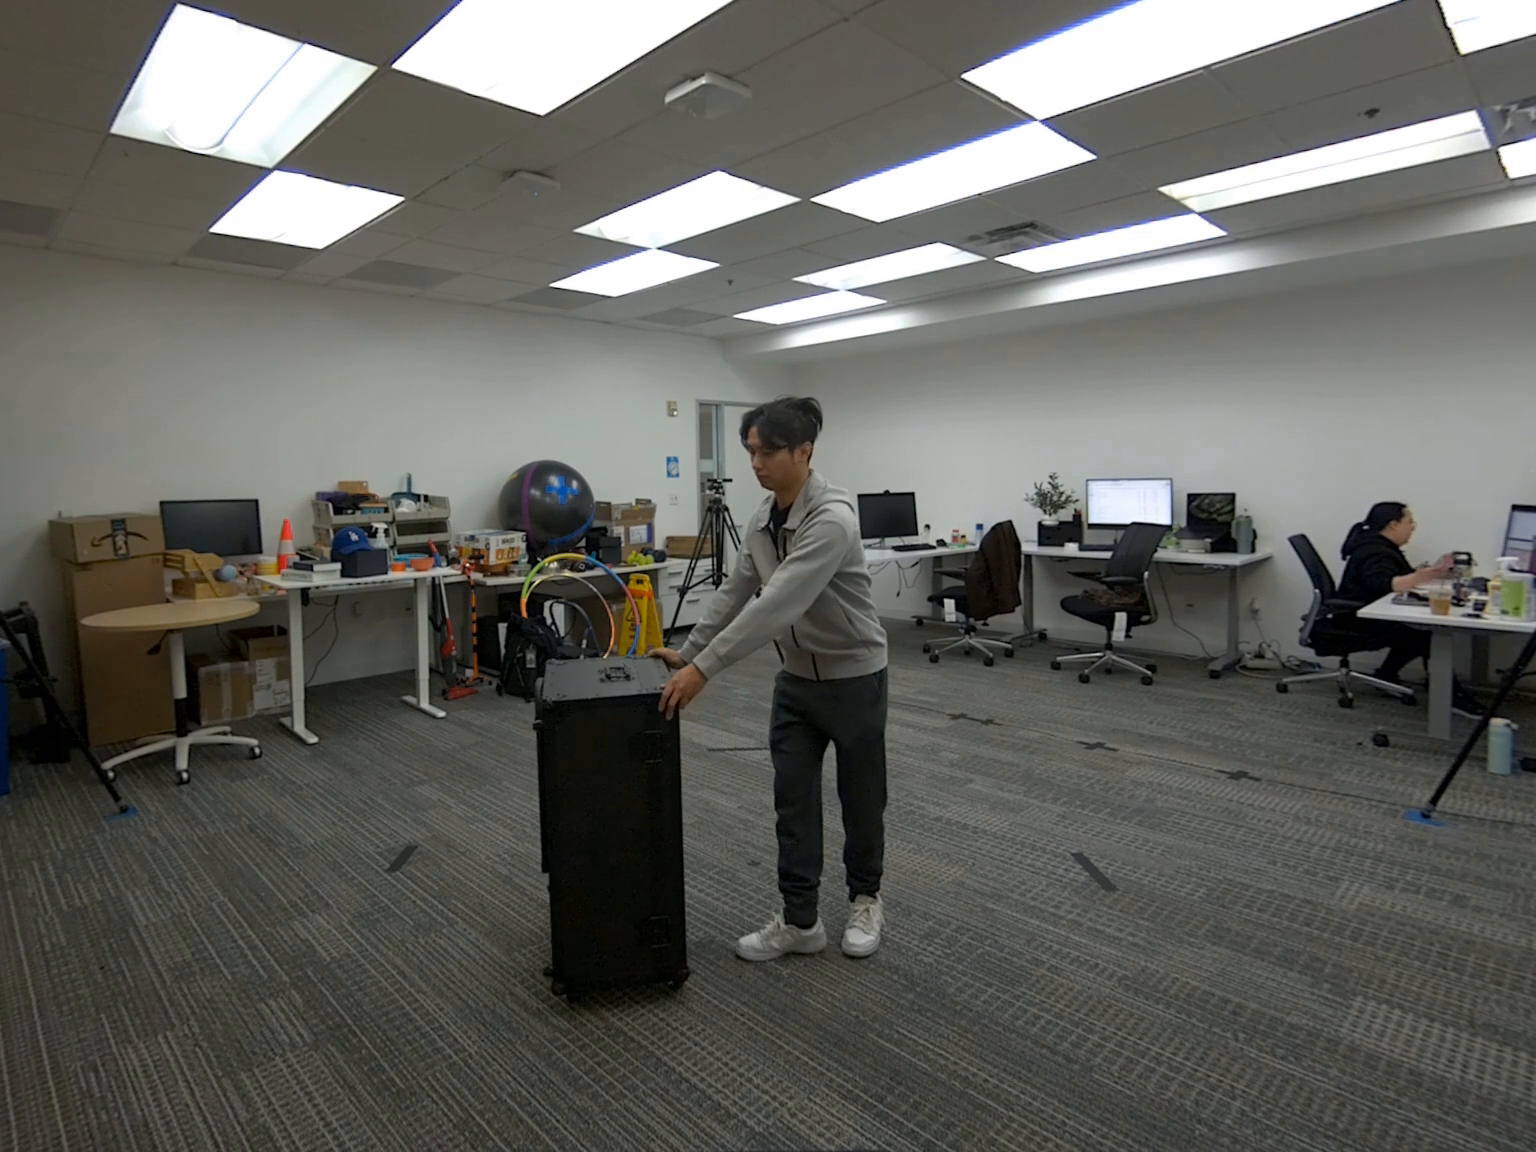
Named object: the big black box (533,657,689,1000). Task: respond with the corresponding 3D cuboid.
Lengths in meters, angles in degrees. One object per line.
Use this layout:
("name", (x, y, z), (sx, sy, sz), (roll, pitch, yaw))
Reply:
("big black box", (-0.450, 0.705, 2.445), (0.392, 0.857, 0.529), (-3, 5, -12))
